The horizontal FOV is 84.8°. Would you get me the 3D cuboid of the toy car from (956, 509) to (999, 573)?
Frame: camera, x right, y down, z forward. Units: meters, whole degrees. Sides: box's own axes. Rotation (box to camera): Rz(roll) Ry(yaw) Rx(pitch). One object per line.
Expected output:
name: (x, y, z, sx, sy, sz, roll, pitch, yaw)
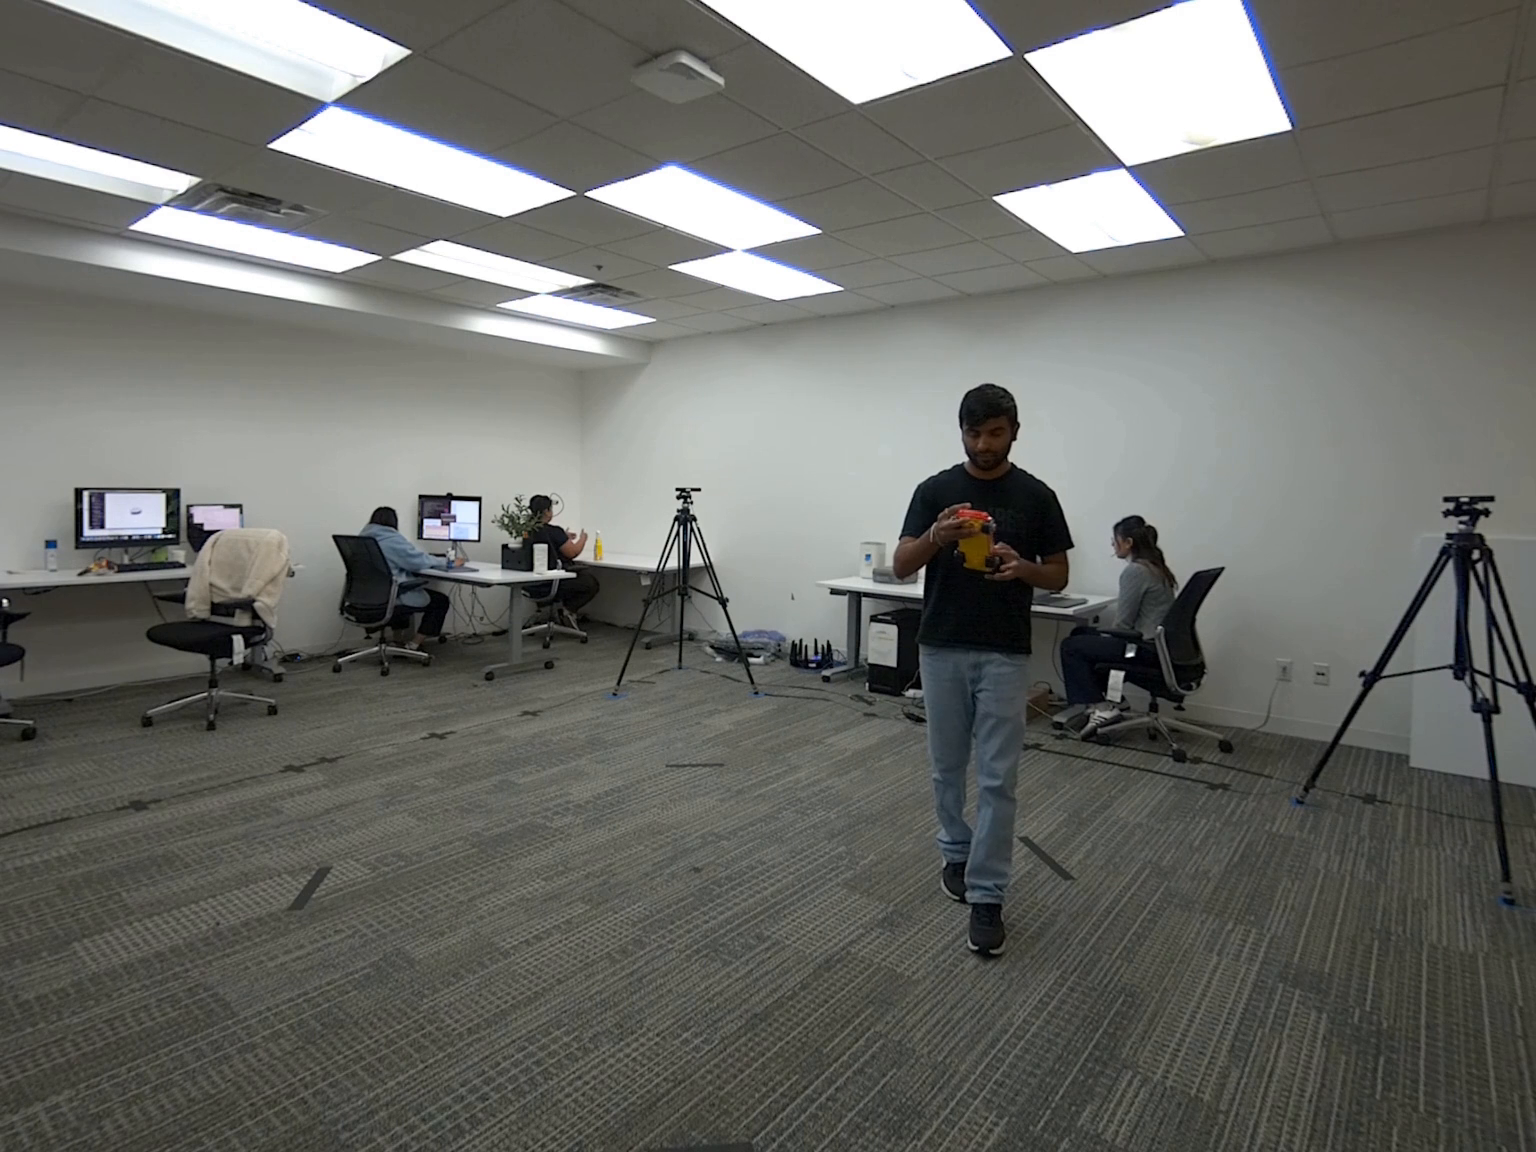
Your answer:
toy car: (0.607, -0.099, 2.498, 0.134, 0.084, 0.244, 13, -26, 28)
